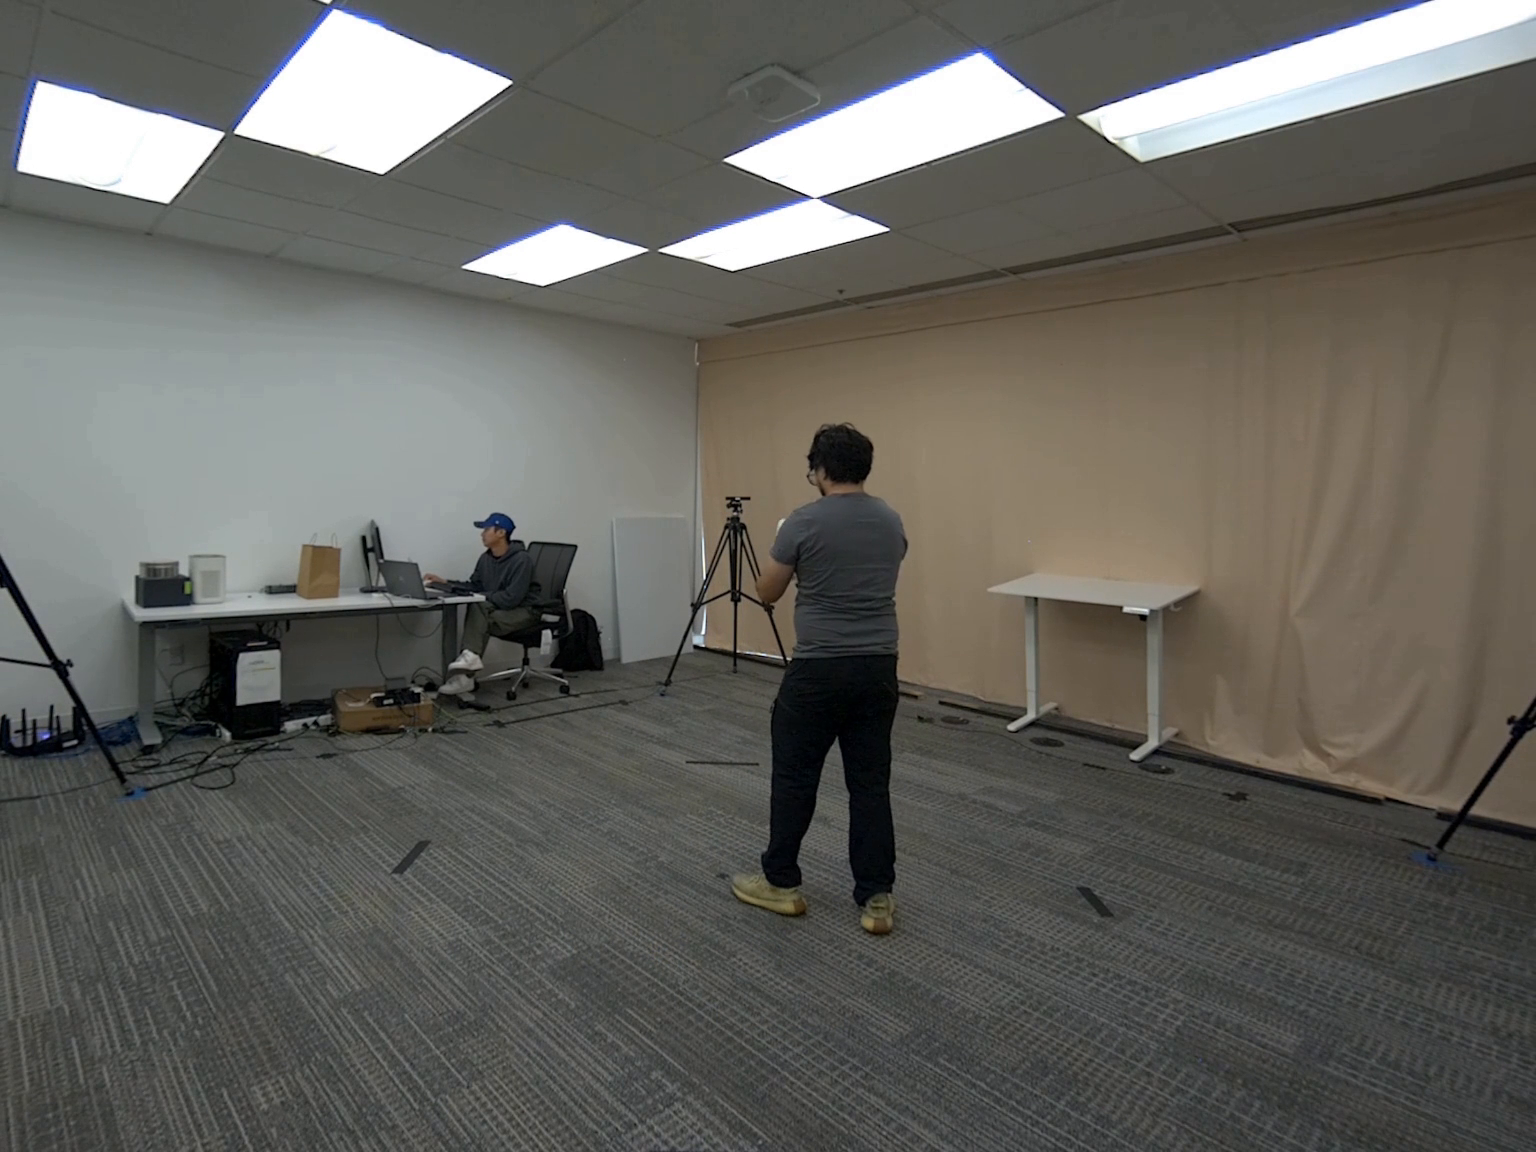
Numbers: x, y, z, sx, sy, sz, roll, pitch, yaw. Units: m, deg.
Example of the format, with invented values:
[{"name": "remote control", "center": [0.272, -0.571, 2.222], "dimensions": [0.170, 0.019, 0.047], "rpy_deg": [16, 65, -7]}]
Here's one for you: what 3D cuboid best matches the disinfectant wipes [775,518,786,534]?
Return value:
[{"name": "disinfectant wipes", "center": [0.078, -0.091, 3.199], "dimensions": [0.118, 0.219, 0.116], "rpy_deg": [15, -15, 3]}]
